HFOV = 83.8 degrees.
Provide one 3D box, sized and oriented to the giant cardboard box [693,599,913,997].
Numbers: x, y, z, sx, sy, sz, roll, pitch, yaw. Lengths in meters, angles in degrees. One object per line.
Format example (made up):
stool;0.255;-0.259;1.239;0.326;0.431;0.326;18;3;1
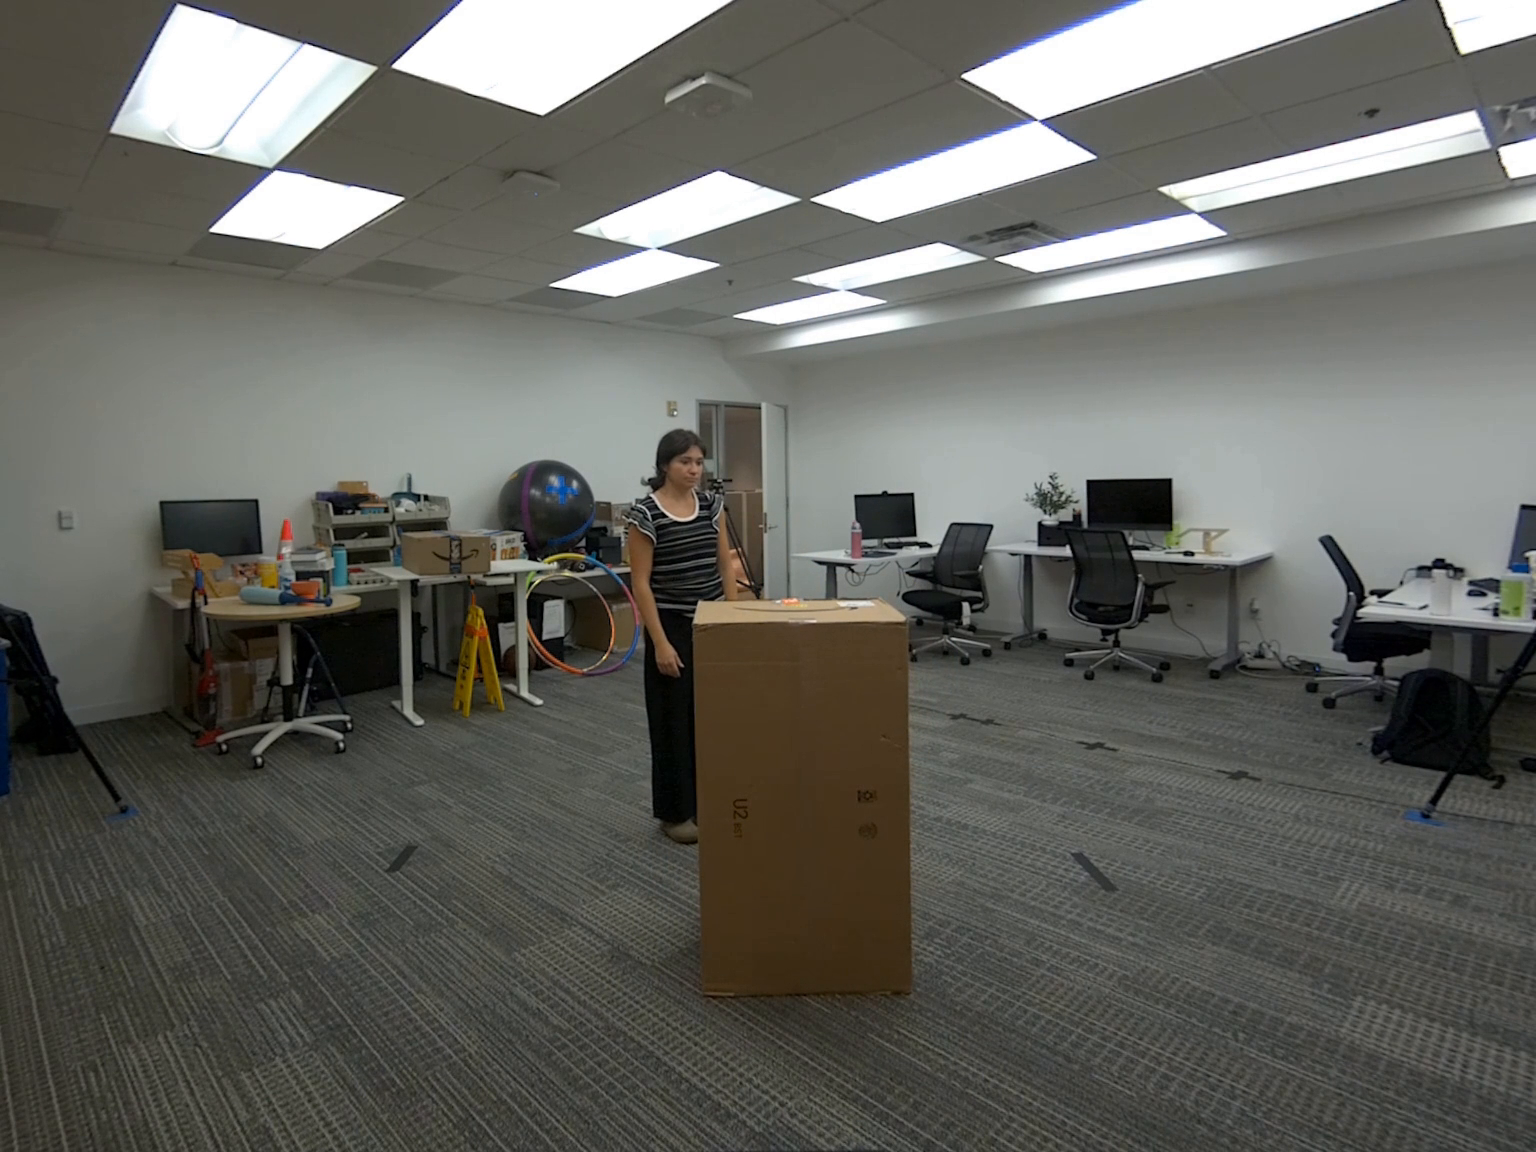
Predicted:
giant cardboard box;0.094;0.606;2.487;0.577;1.022;0.428;-2;4;-1
